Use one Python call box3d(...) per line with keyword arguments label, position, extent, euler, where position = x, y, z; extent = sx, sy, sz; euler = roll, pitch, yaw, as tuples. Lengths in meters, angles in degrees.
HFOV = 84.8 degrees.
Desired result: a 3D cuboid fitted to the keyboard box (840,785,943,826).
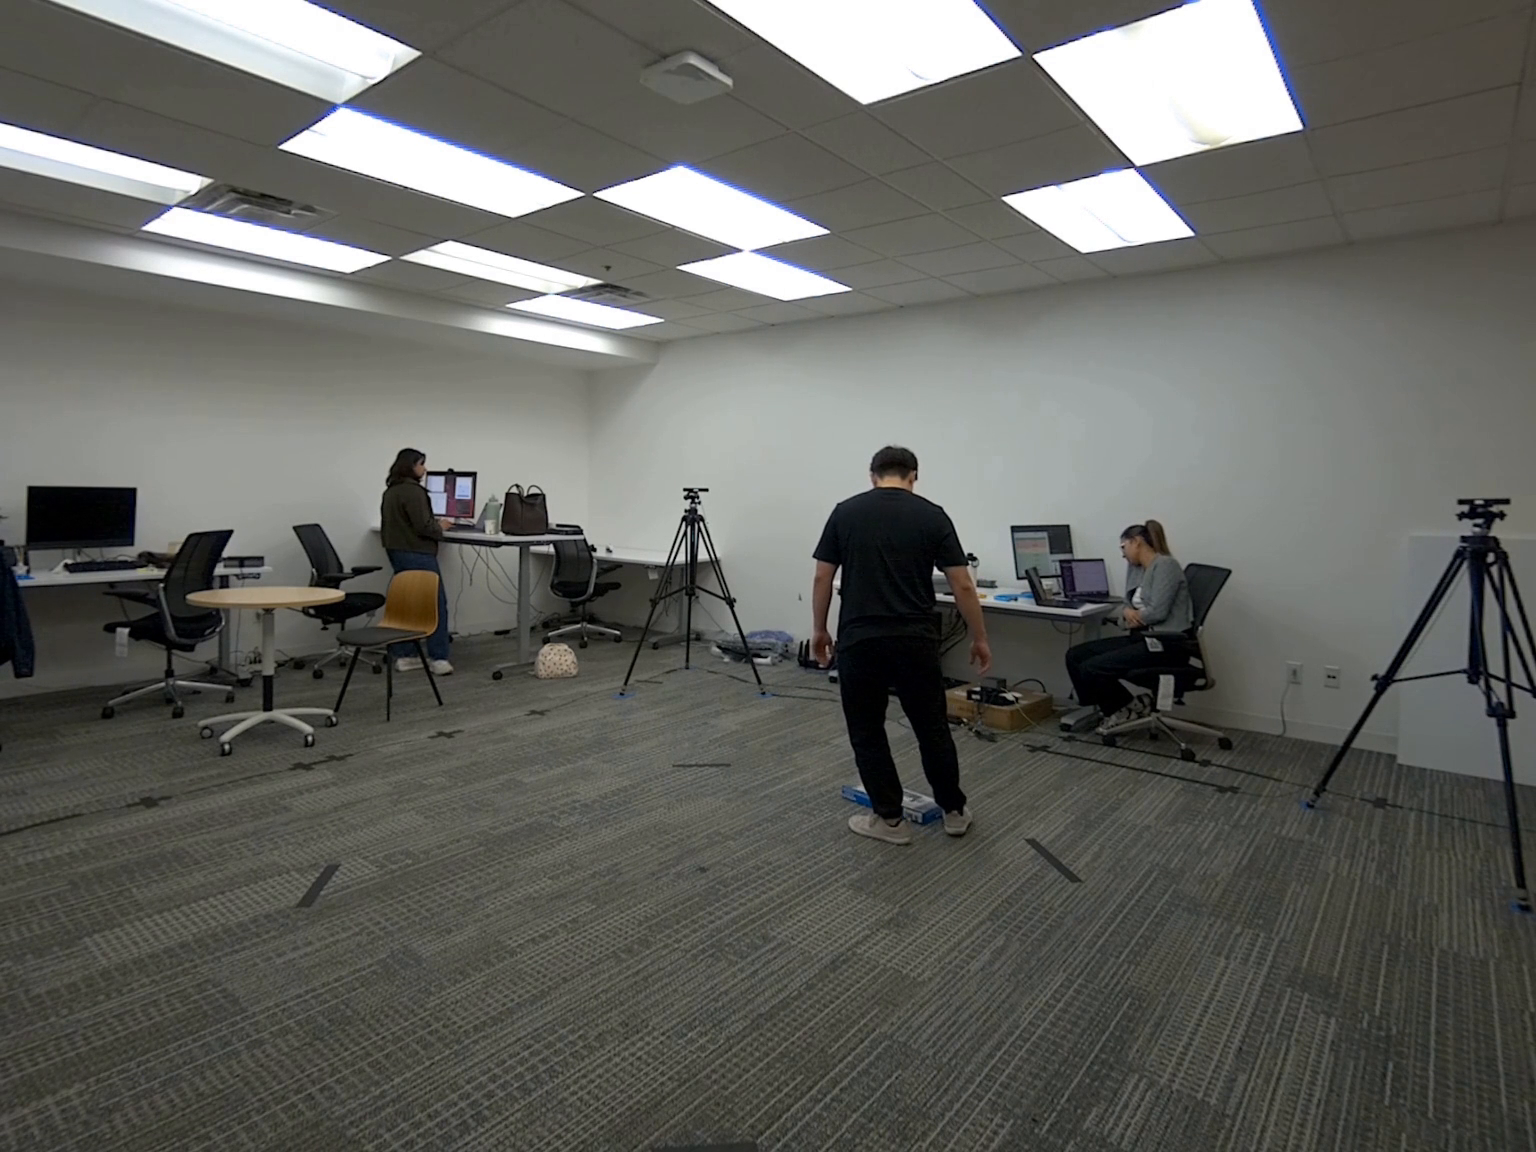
box3d(label="keyboard box", position=(0.546, 0.991, 3.774), extent=(0.171, 0.059, 0.452), euler=(-5, 8, -44))
